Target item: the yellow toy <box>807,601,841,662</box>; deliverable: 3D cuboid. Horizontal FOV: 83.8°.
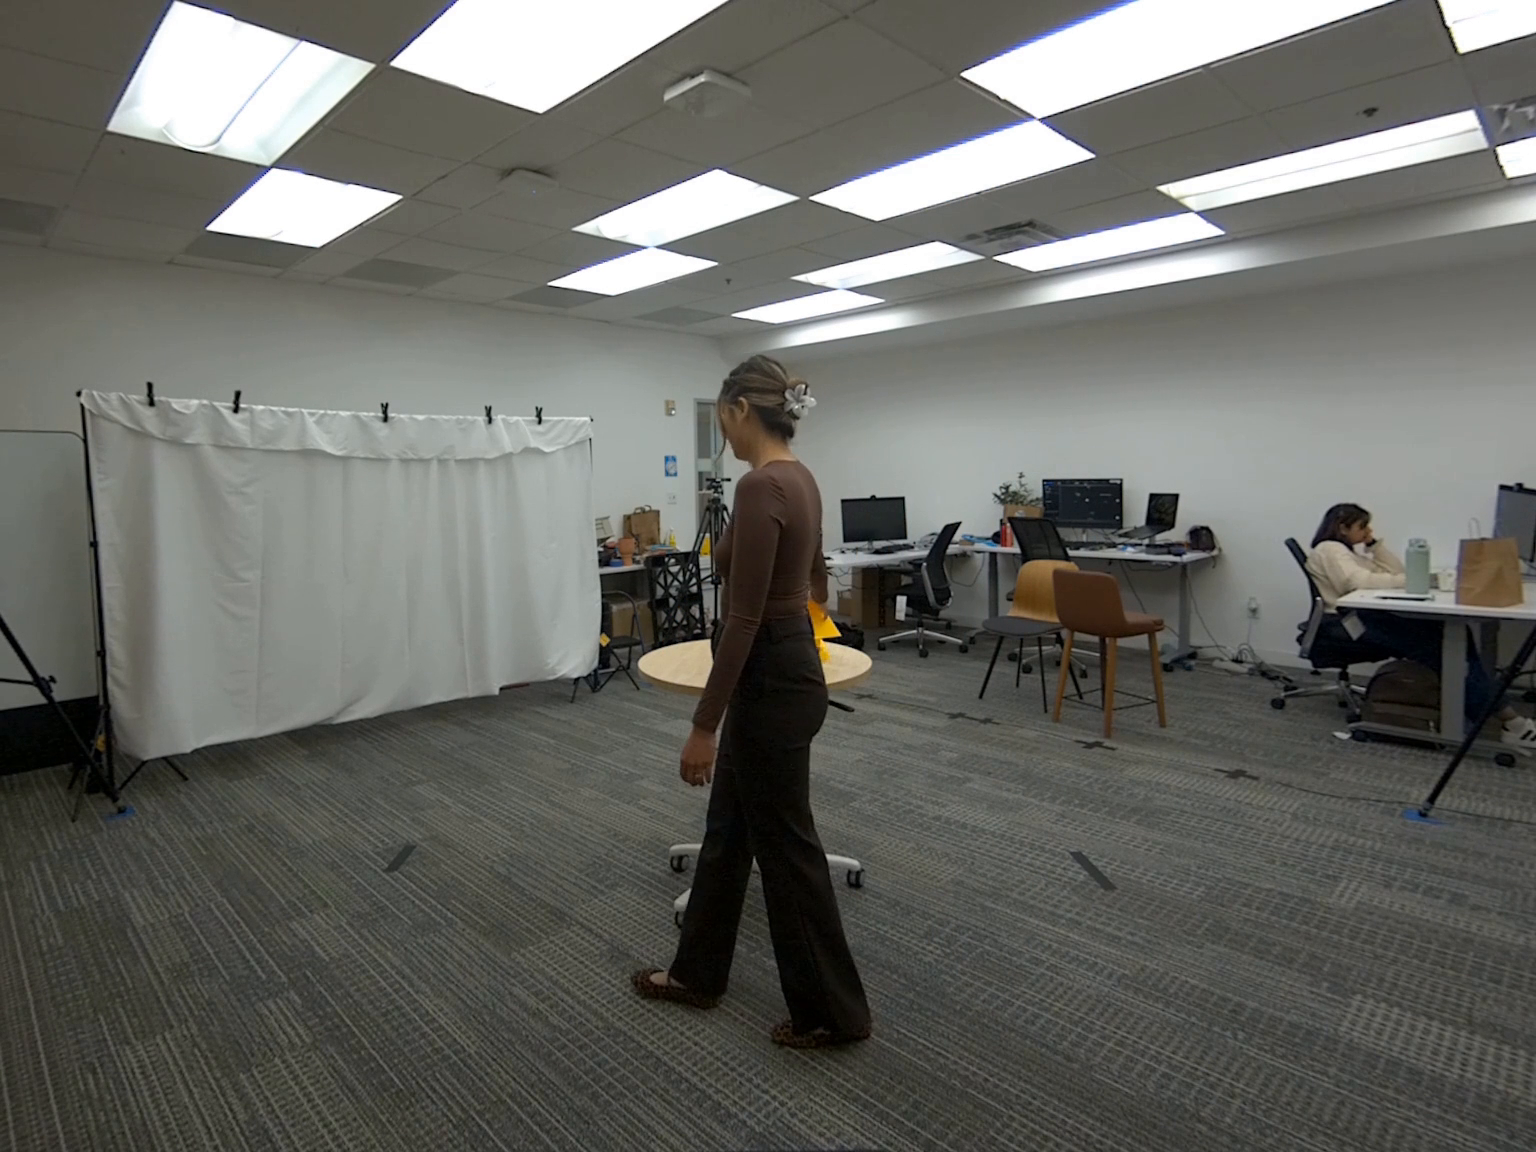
[{"bbox_3d":[0.114,0.162,2.831,0.200,0.230,0.198,-4,6,-28],"label":"yellow toy"}]
